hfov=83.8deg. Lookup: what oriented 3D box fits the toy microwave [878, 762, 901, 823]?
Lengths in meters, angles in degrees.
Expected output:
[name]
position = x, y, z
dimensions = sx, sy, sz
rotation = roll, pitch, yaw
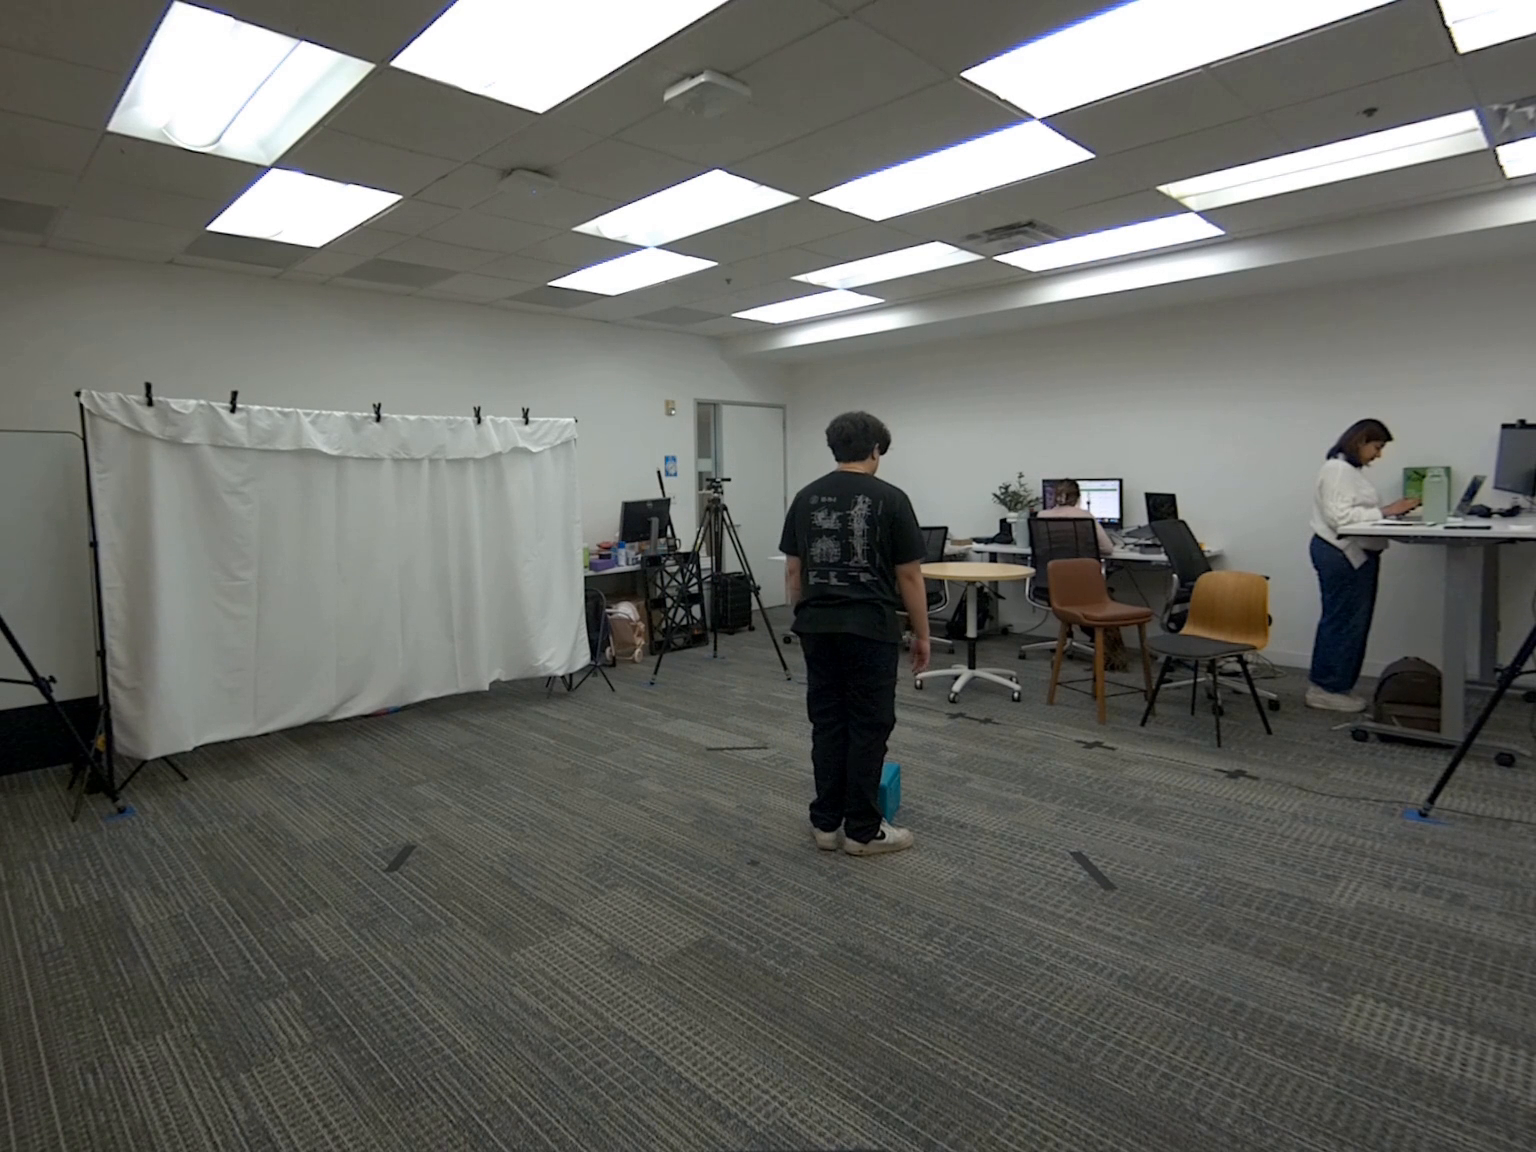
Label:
[toy microwave]
position = 0.450, 0.895, 3.532
dimensions = 0.155, 0.183, 0.281
rotation = 1, 6, 22
